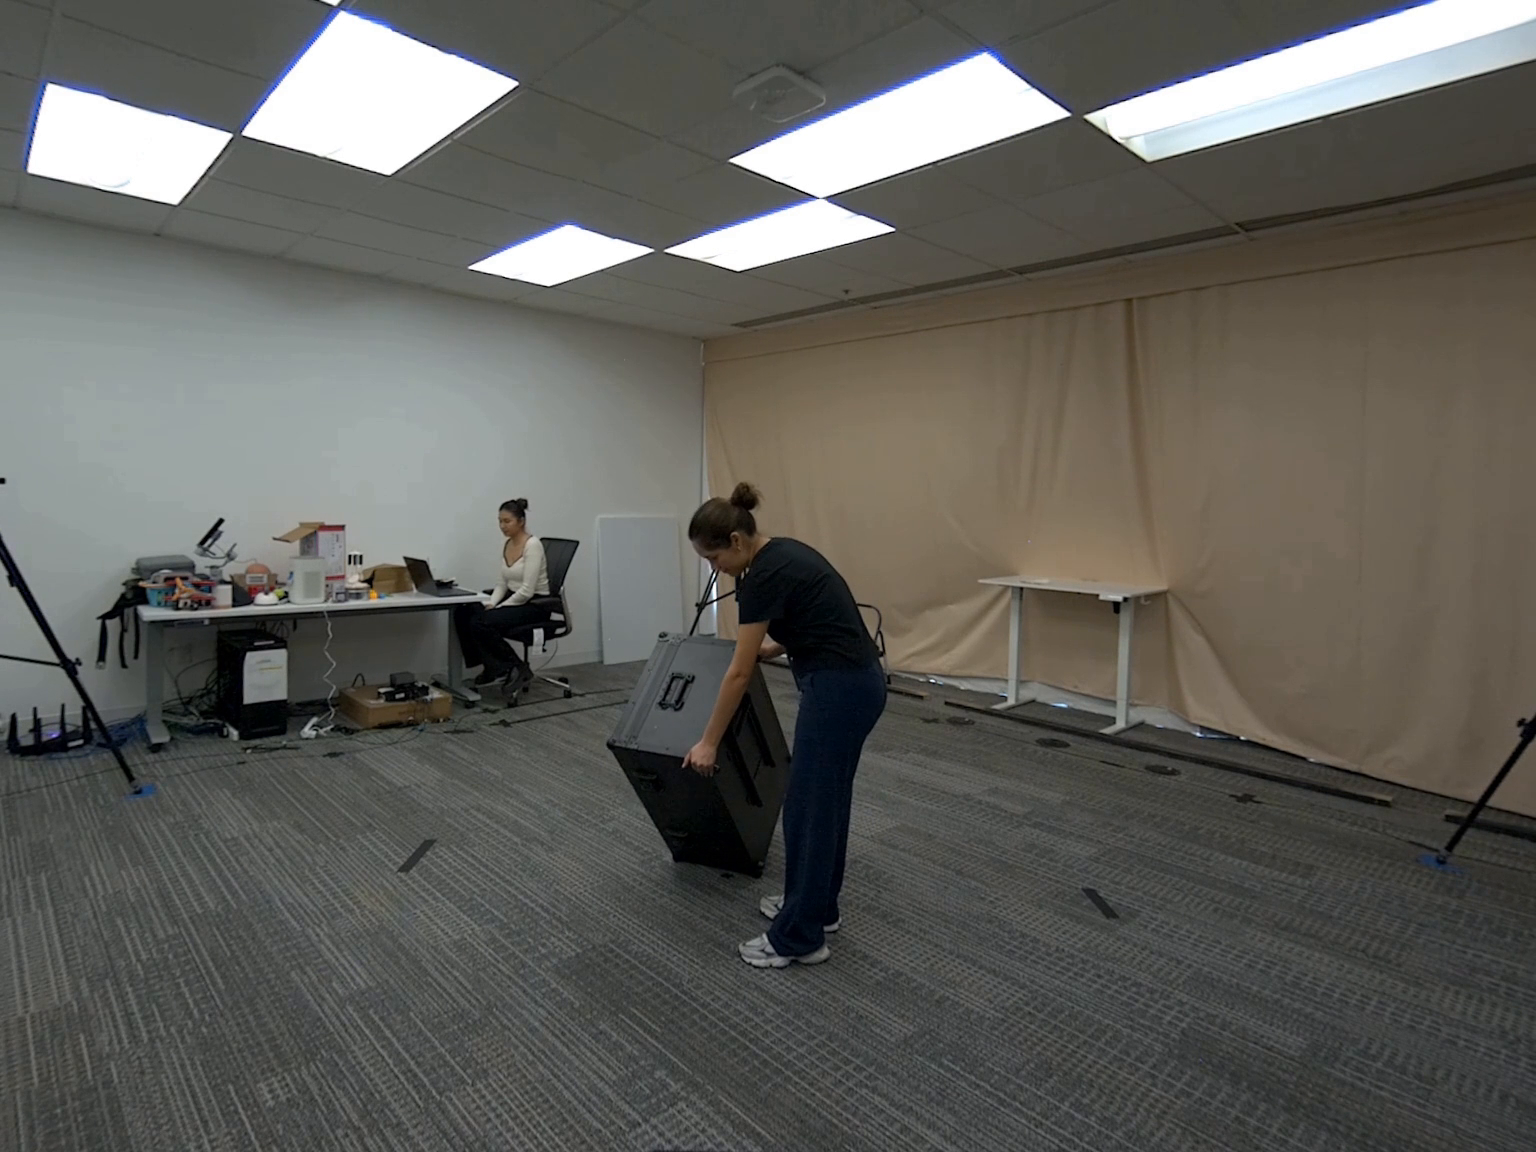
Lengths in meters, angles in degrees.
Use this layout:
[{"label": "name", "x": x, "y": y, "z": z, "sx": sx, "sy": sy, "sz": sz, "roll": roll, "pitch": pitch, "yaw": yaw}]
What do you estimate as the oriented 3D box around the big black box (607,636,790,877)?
[{"label": "big black box", "x": -0.193, "y": 0.682, "z": 3.069, "sx": 0.403, "sy": 0.838, "sz": 0.526, "roll": 5, "pitch": 47, "yaw": 21}]
